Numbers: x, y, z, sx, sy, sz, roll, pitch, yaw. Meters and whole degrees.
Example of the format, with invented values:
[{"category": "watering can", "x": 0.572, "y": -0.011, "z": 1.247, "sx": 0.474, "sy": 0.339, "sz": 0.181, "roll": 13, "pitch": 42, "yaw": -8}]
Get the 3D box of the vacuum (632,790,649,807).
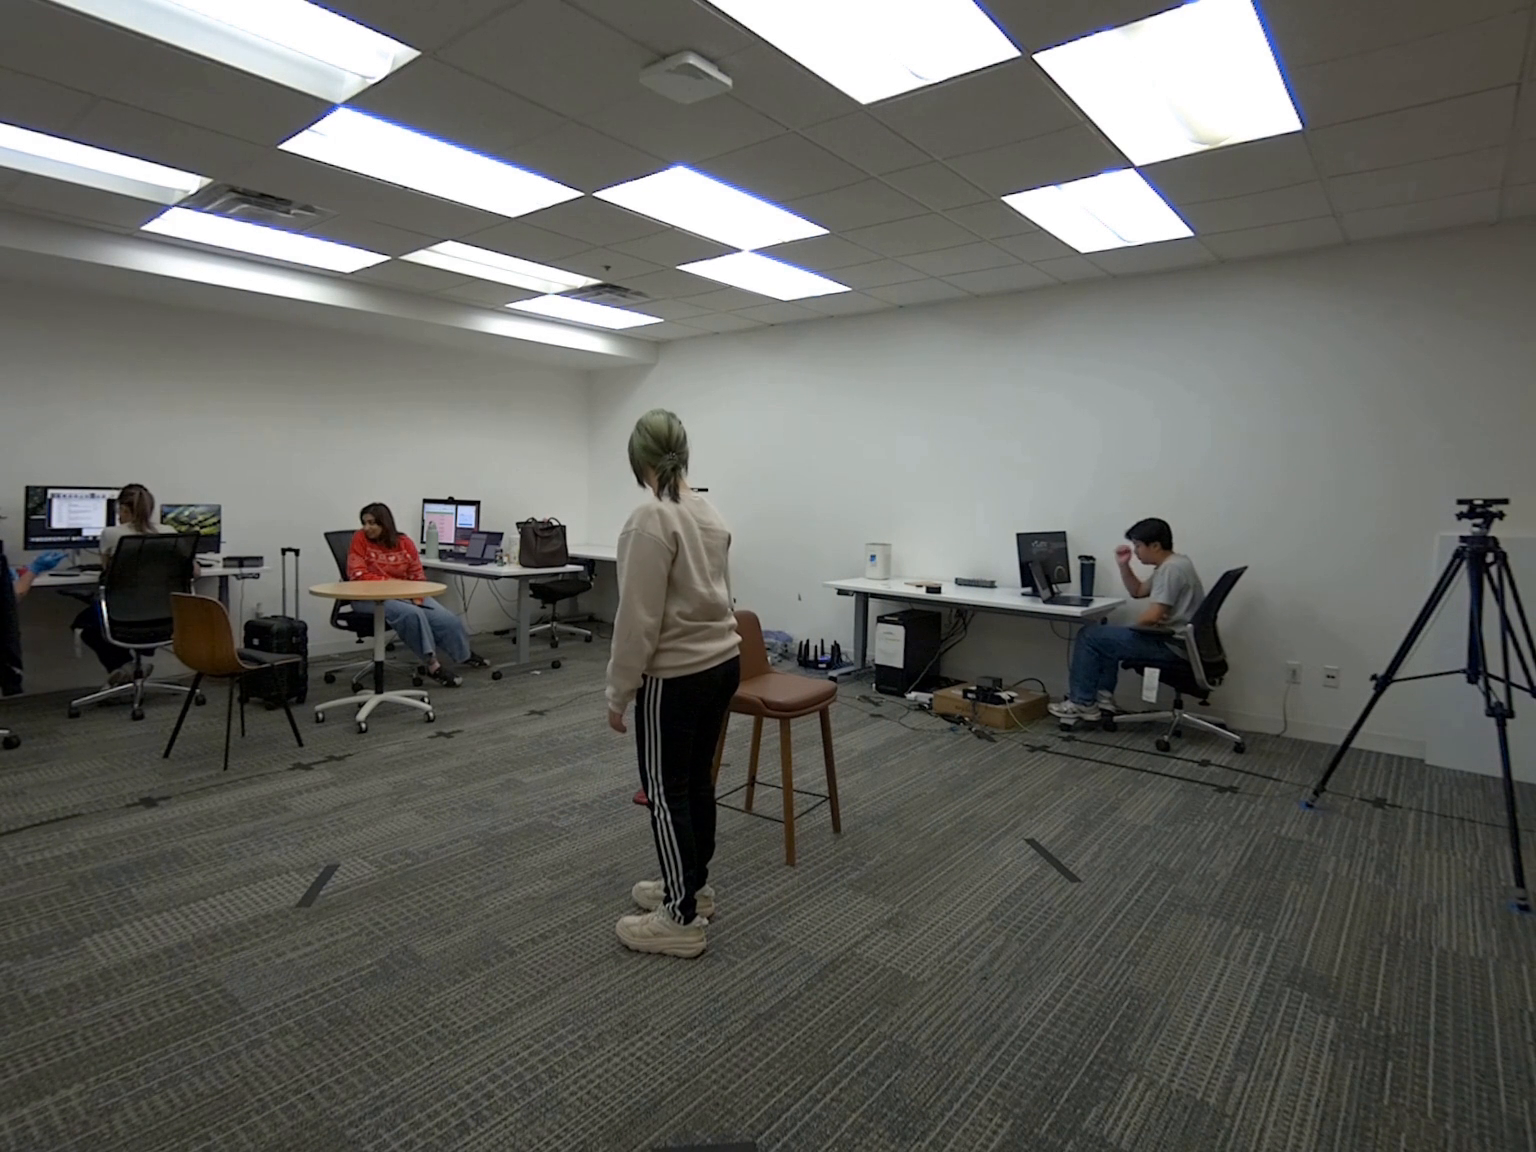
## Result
[{"category": "vacuum", "x": -0.318, "y": 0.248, "z": 3.077, "sx": 0.258, "sy": 1.056, "sz": 0.140, "roll": 1, "pitch": -8, "yaw": 20}]
